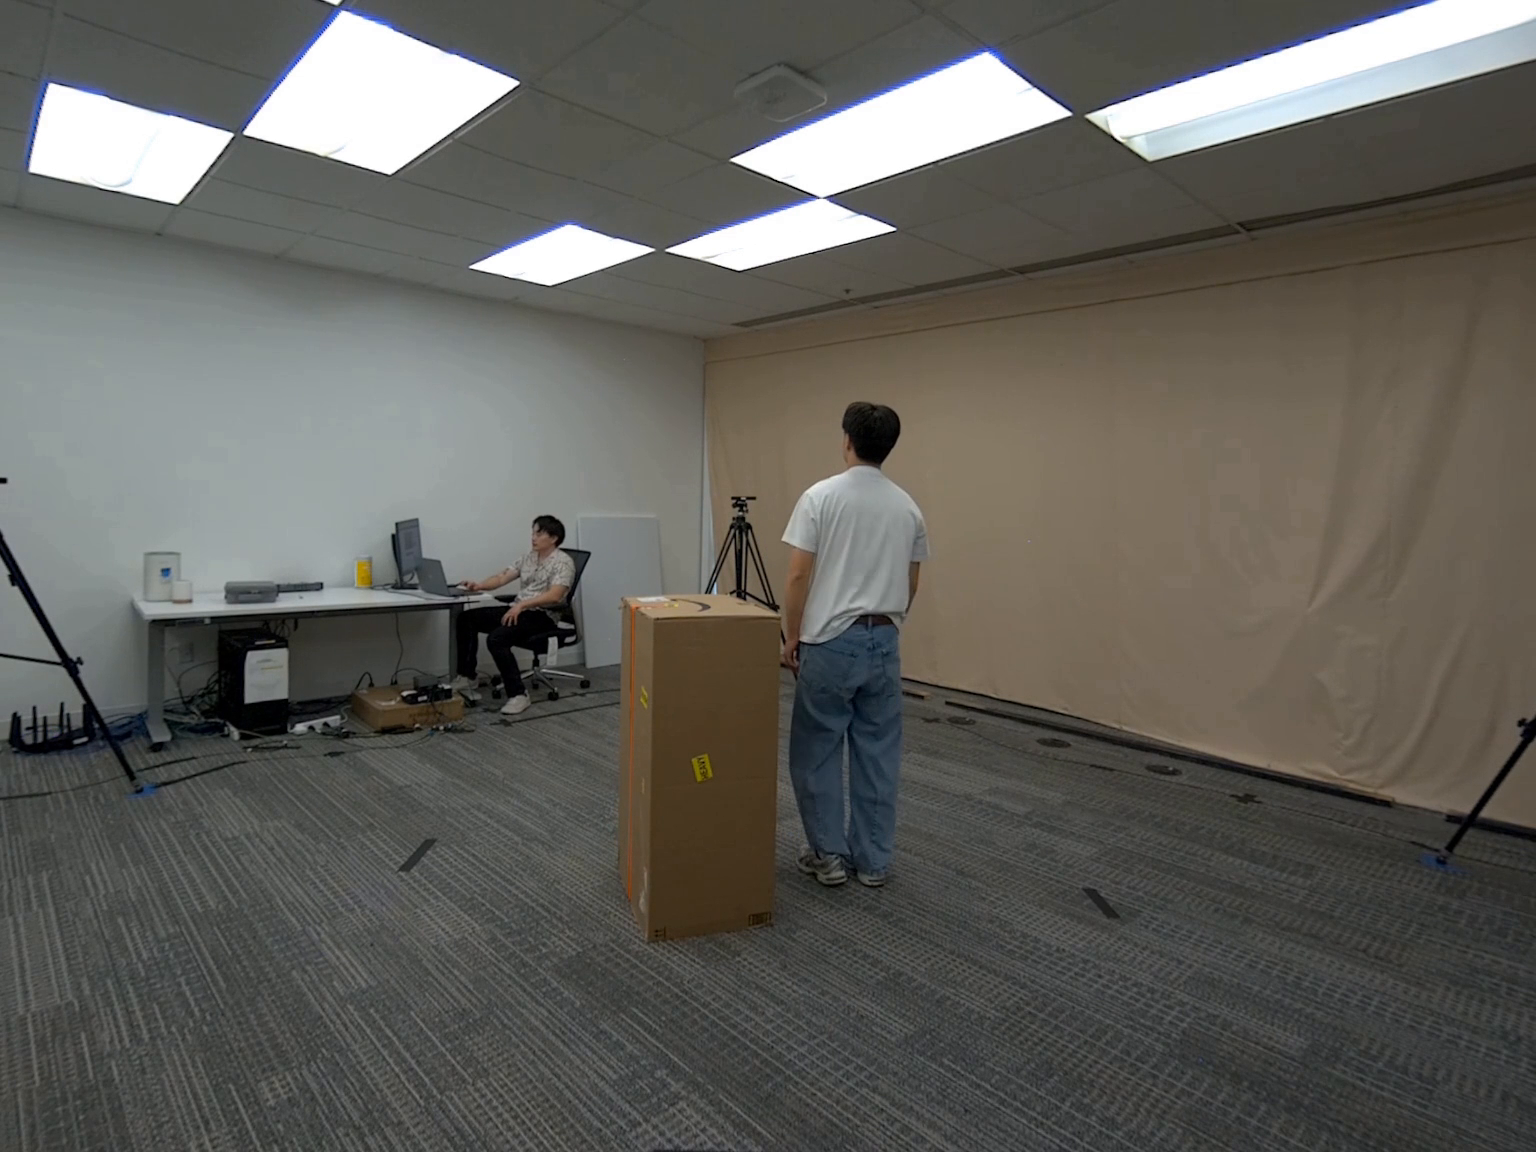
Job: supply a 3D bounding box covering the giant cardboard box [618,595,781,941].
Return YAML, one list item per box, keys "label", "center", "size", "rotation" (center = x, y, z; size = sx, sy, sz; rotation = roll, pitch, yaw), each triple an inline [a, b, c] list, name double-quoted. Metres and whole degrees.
- label: "giant cardboard box"
  center: [-0.268, 0.609, 2.921]
  size: [0.420, 1.023, 0.587]
  rotation: [0, 4, -20]
